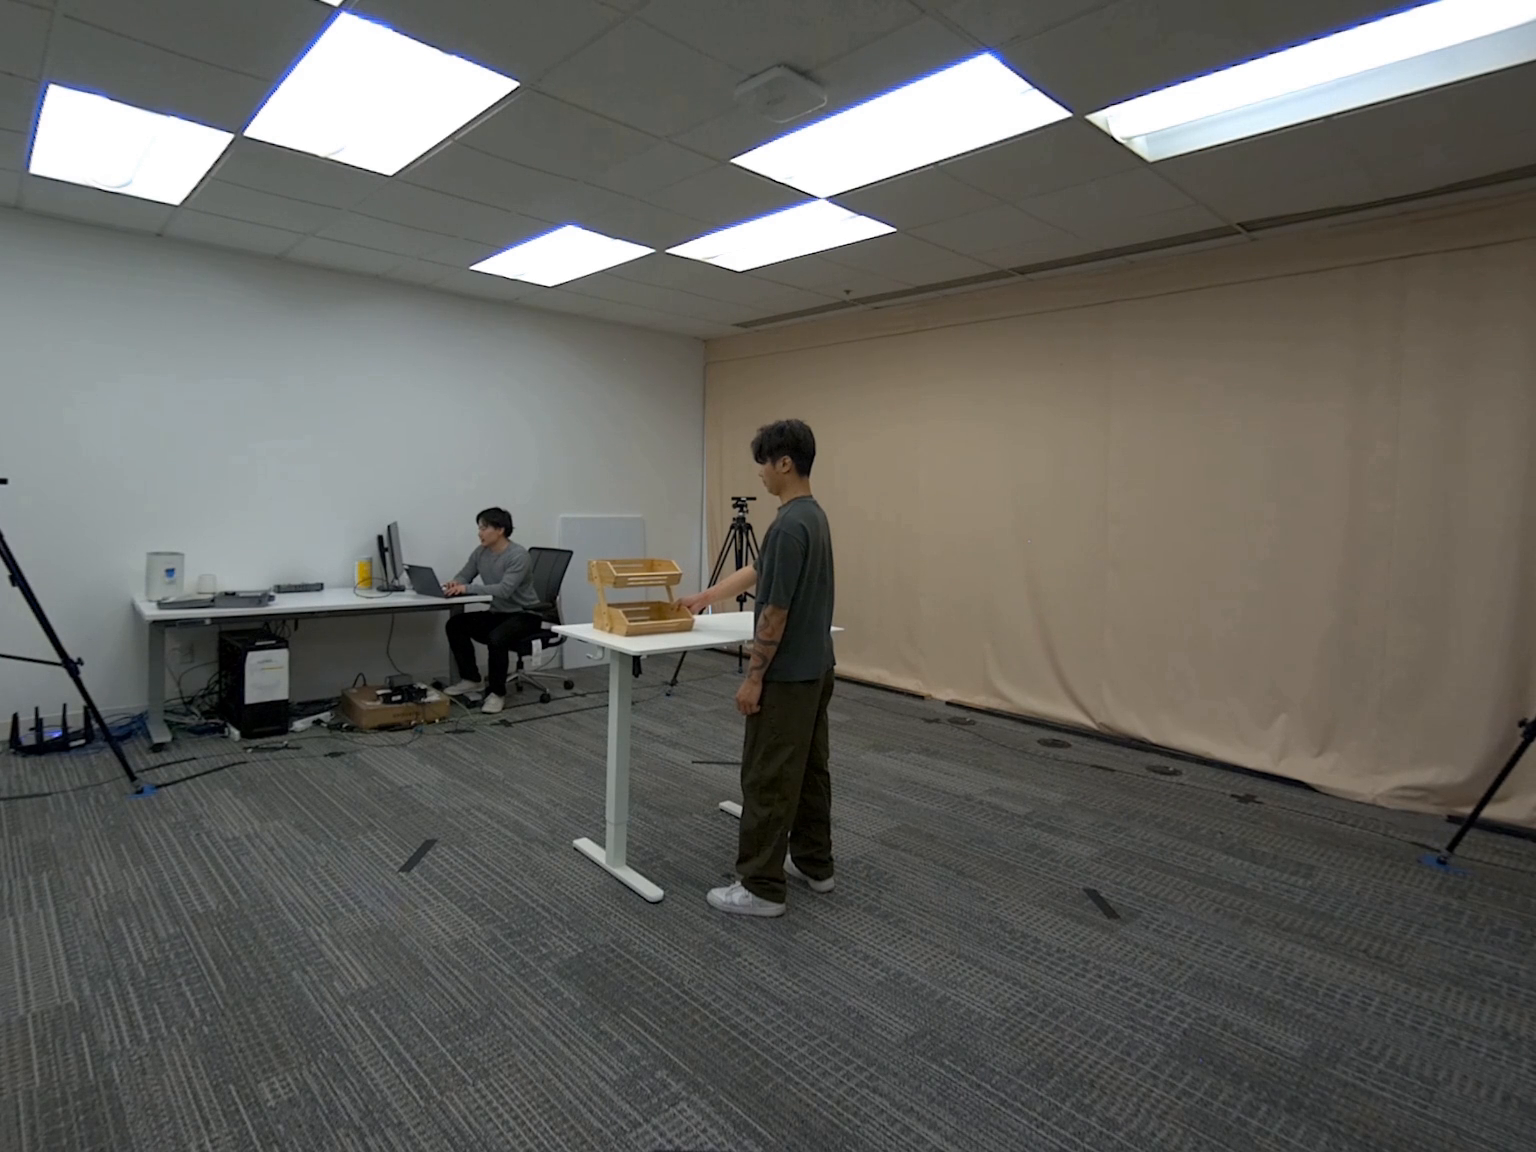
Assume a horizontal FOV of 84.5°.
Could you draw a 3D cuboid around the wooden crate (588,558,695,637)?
[{"bbox_3d":[-0.492,0.071,3.226,0.317,0.273,0.309,-1,4,-40],"label":"wooden crate"}]
